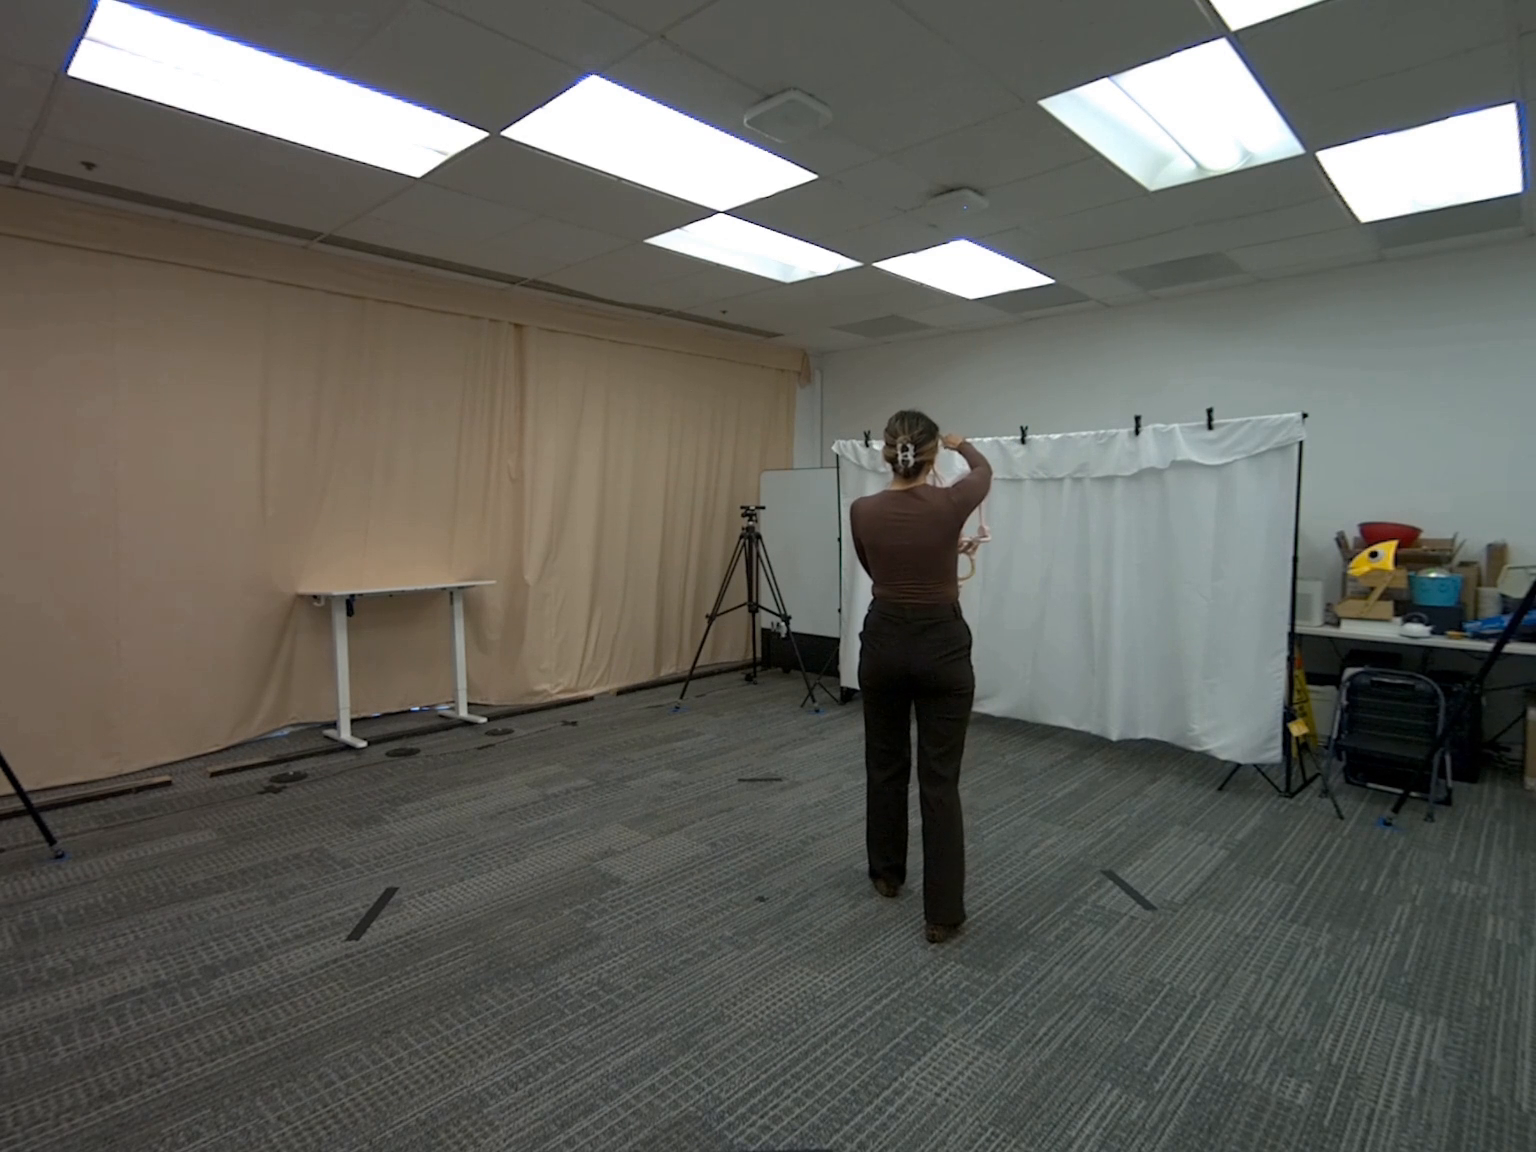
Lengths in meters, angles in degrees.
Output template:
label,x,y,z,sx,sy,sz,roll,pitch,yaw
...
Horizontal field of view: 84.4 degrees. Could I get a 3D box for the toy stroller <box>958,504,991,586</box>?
label,x,y,z,sx,sy,sz,roll,pitch,yaw
toy stroller,0.734,-0.215,3.295,0.276,0.530,0.351,2,28,-20
